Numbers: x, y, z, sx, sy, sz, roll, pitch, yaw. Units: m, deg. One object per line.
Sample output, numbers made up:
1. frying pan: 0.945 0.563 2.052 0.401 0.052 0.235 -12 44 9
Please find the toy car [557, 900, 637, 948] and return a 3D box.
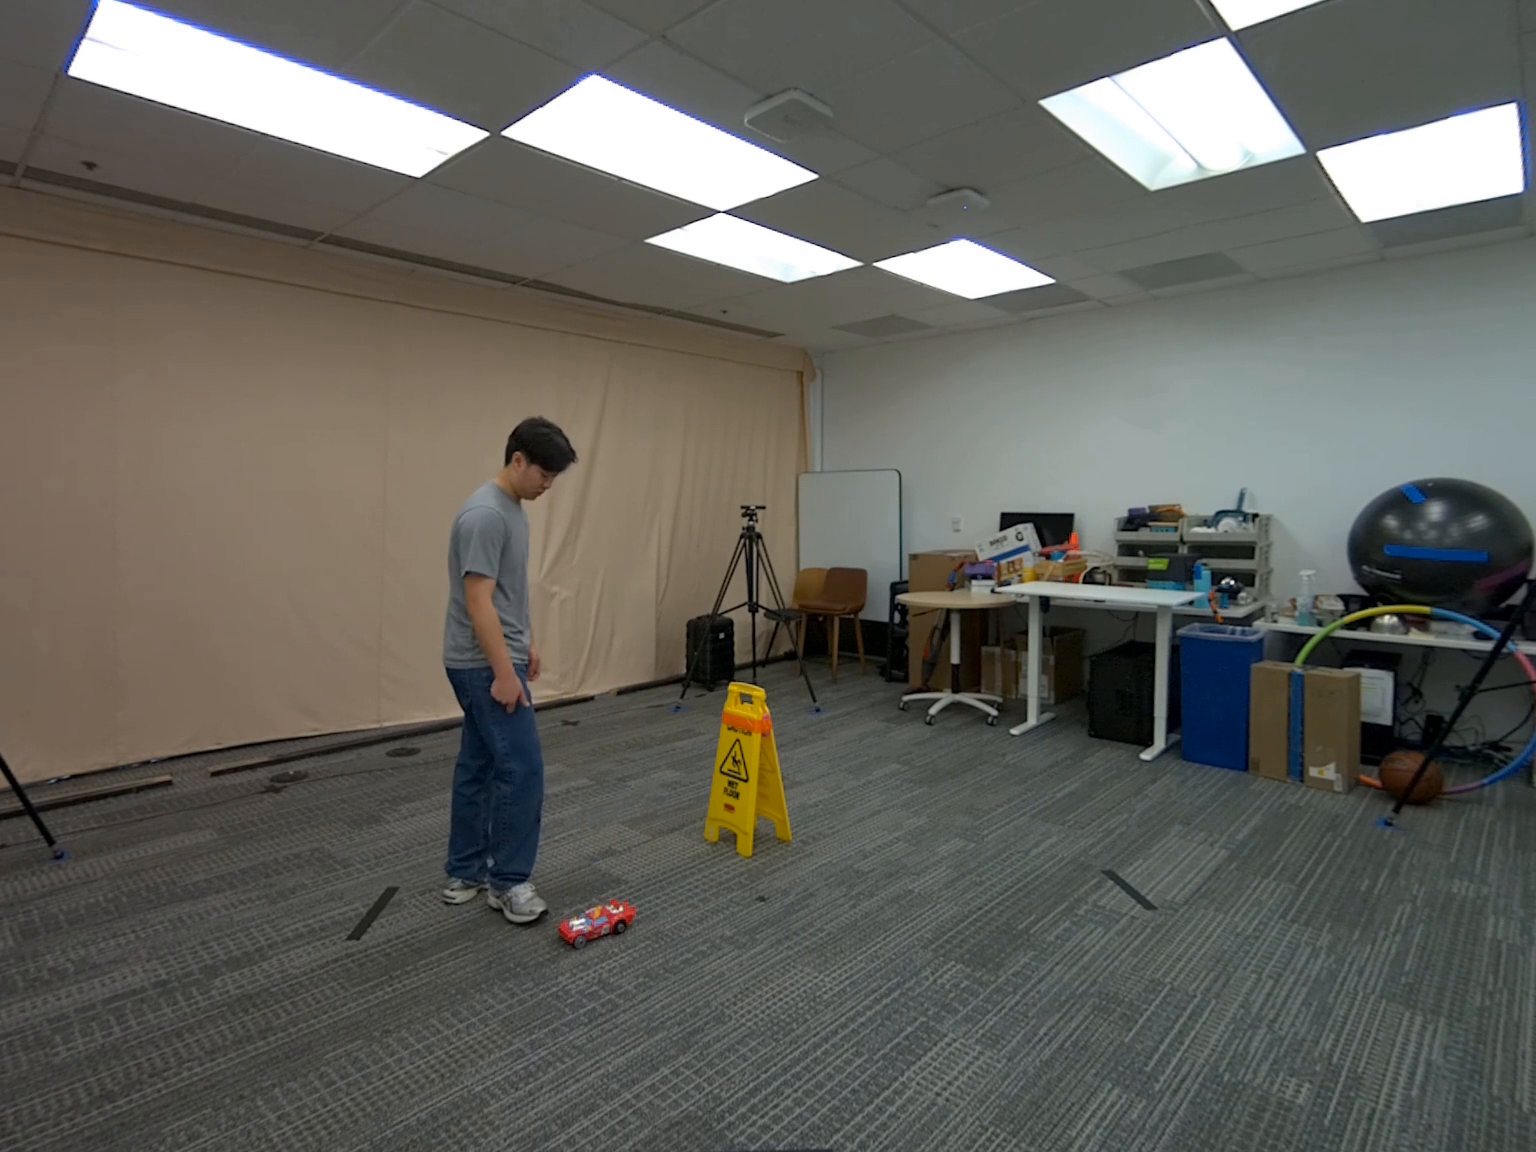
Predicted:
1. toy car: -0.554 1.136 2.746 0.248 0.082 0.134 -17 12 -34
